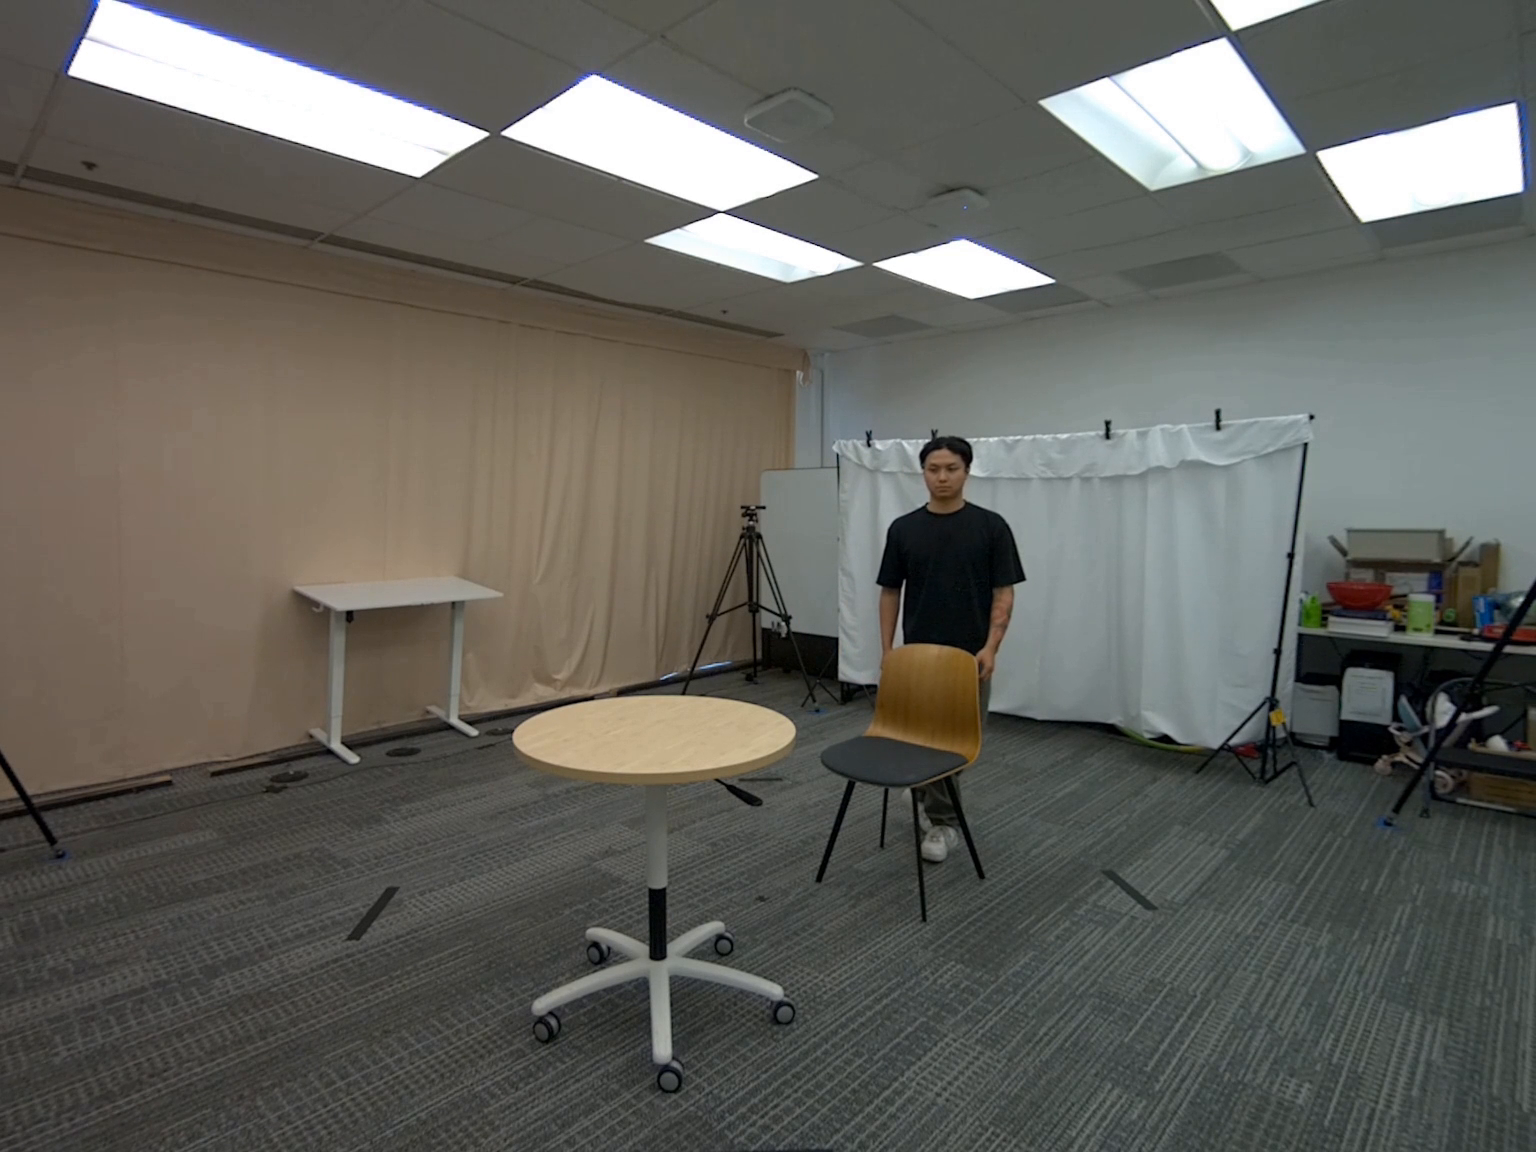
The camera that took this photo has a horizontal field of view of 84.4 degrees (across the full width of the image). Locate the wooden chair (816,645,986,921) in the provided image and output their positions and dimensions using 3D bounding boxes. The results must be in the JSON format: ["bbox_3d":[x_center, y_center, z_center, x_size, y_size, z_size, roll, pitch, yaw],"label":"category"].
[{"bbox_3d":[0.489,0.705,3.088,0.494,0.877,0.506,3,0,41],"label":"wooden chair"}]
